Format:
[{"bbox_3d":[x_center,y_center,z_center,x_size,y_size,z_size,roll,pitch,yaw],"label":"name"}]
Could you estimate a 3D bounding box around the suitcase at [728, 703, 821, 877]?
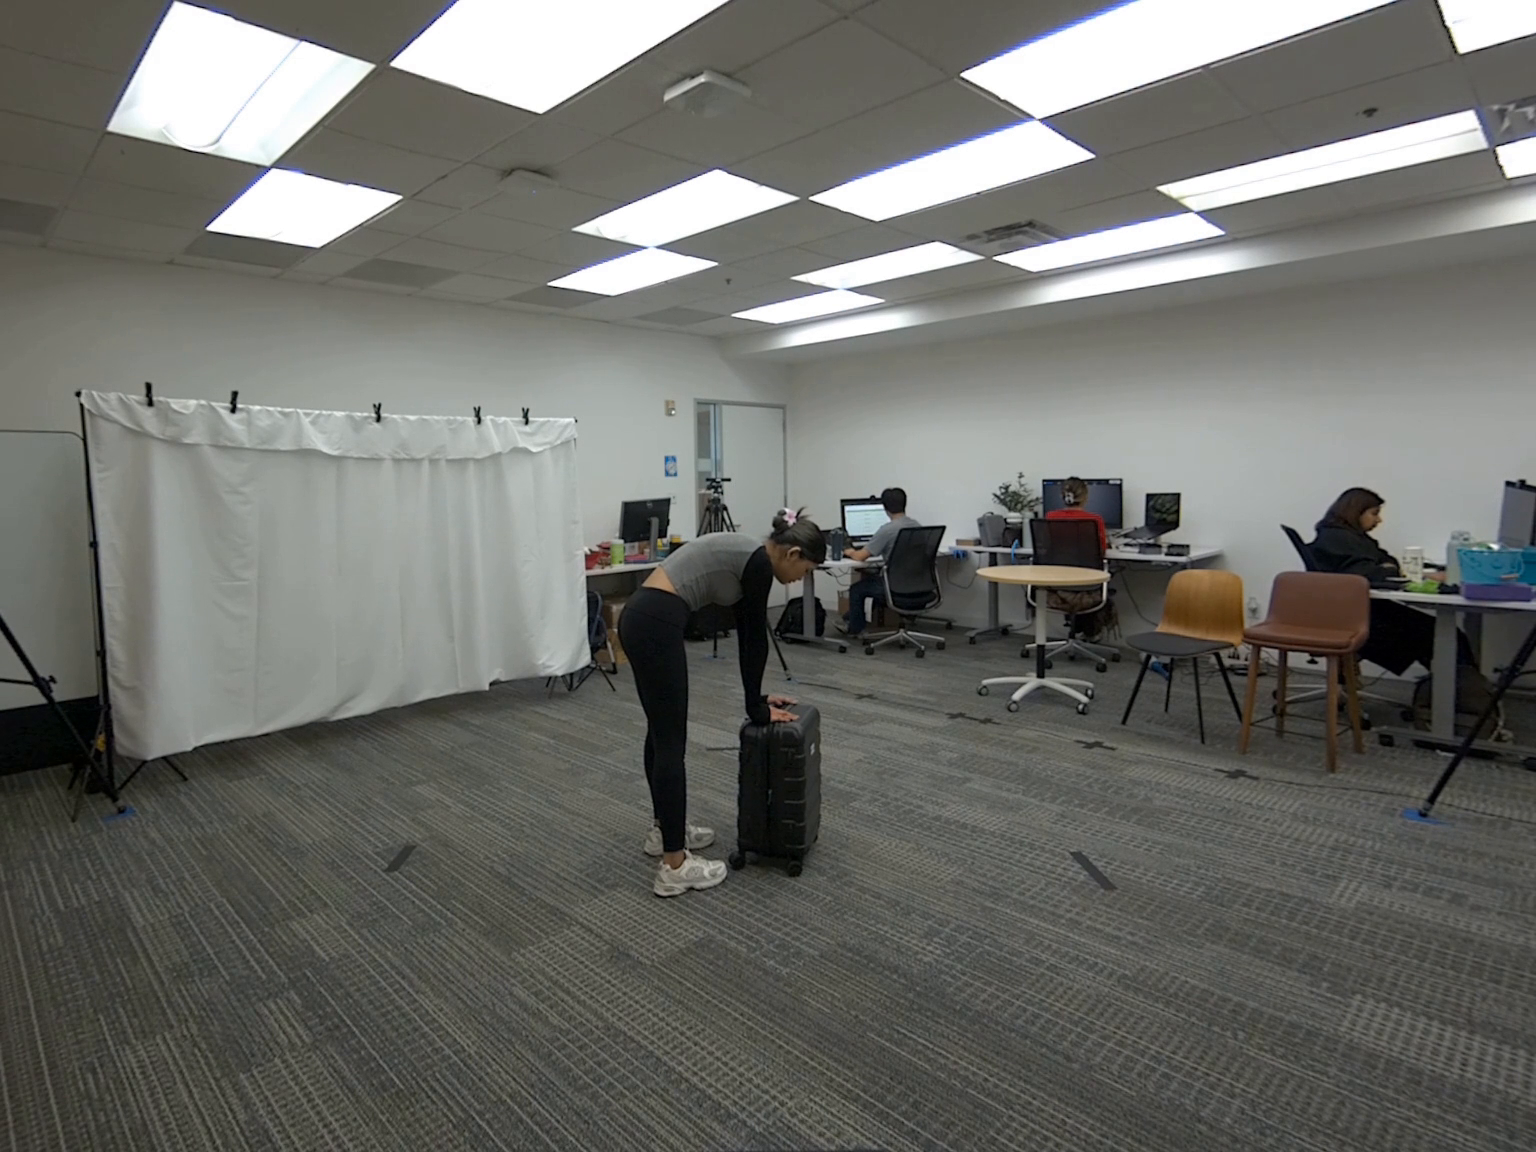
[{"bbox_3d":[0.044,0.759,3.169,0.252,0.547,0.371,2,5,16],"label":"suitcase"}]
